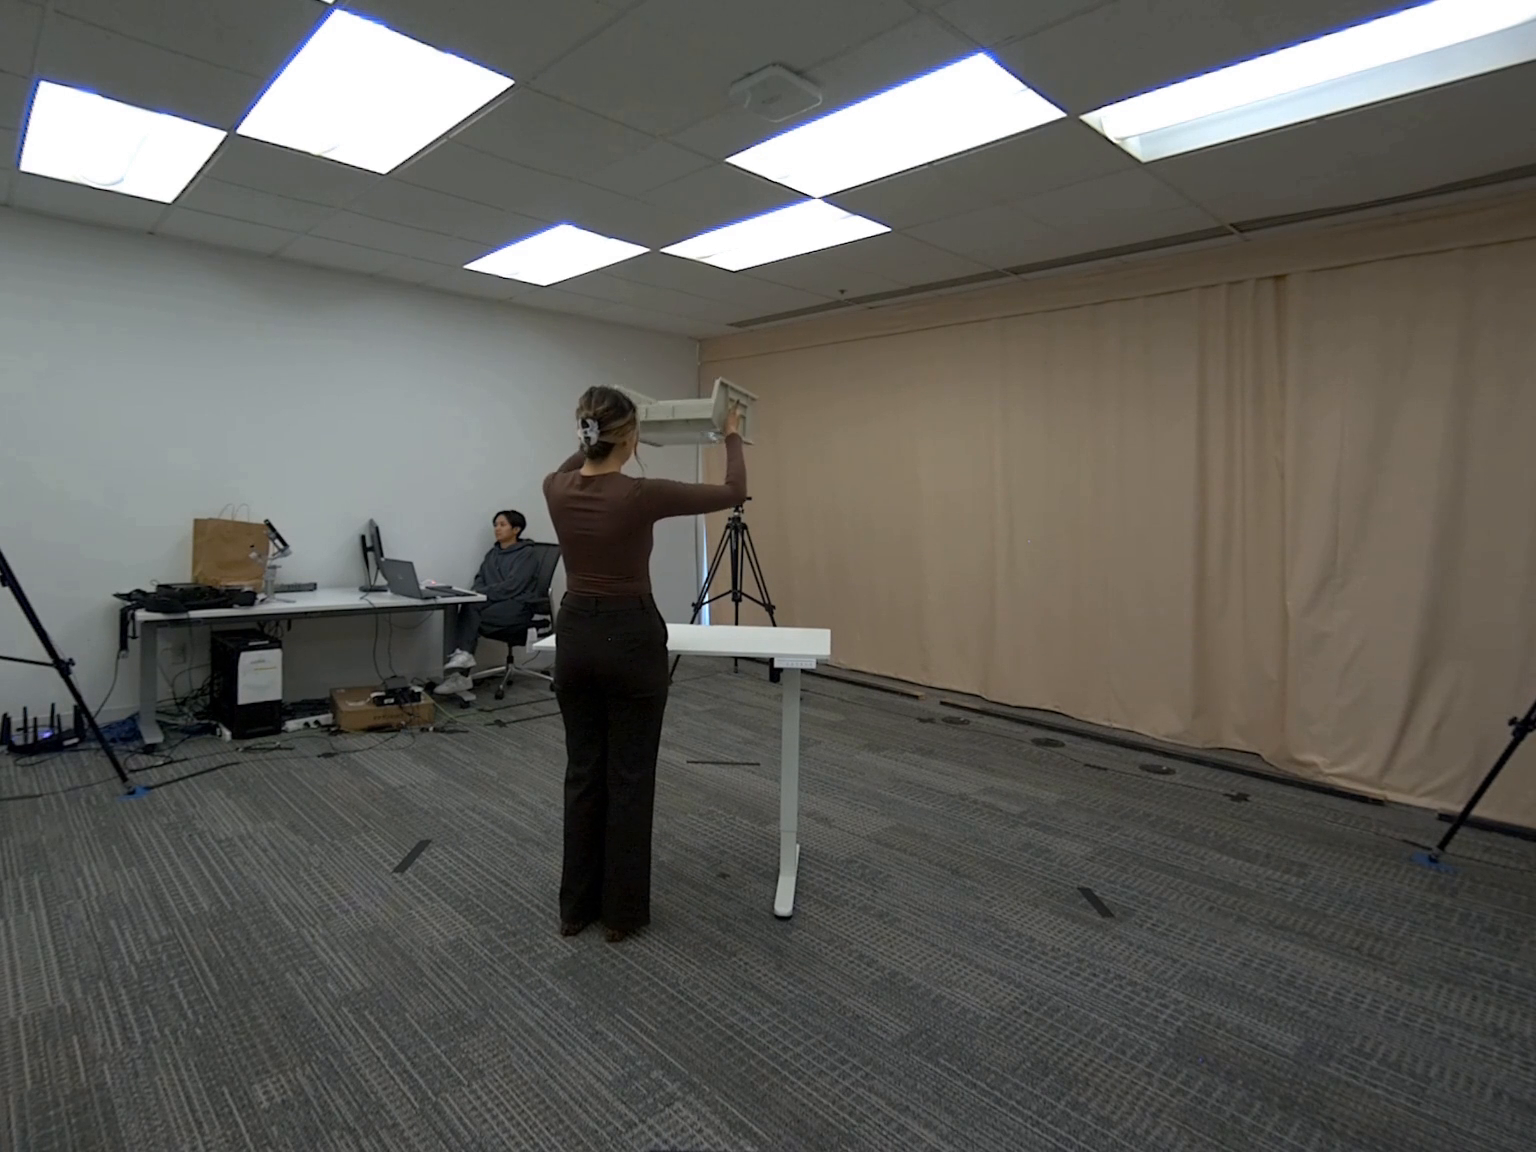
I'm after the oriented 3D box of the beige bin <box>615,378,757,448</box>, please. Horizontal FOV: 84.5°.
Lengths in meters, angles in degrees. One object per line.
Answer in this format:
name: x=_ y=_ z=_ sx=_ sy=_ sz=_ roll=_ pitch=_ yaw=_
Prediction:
beige bin: x=-0.306 y=-0.574 z=3.003 sx=0.430 sy=0.189 sz=0.370 roll=2 pitch=0 yaw=23
